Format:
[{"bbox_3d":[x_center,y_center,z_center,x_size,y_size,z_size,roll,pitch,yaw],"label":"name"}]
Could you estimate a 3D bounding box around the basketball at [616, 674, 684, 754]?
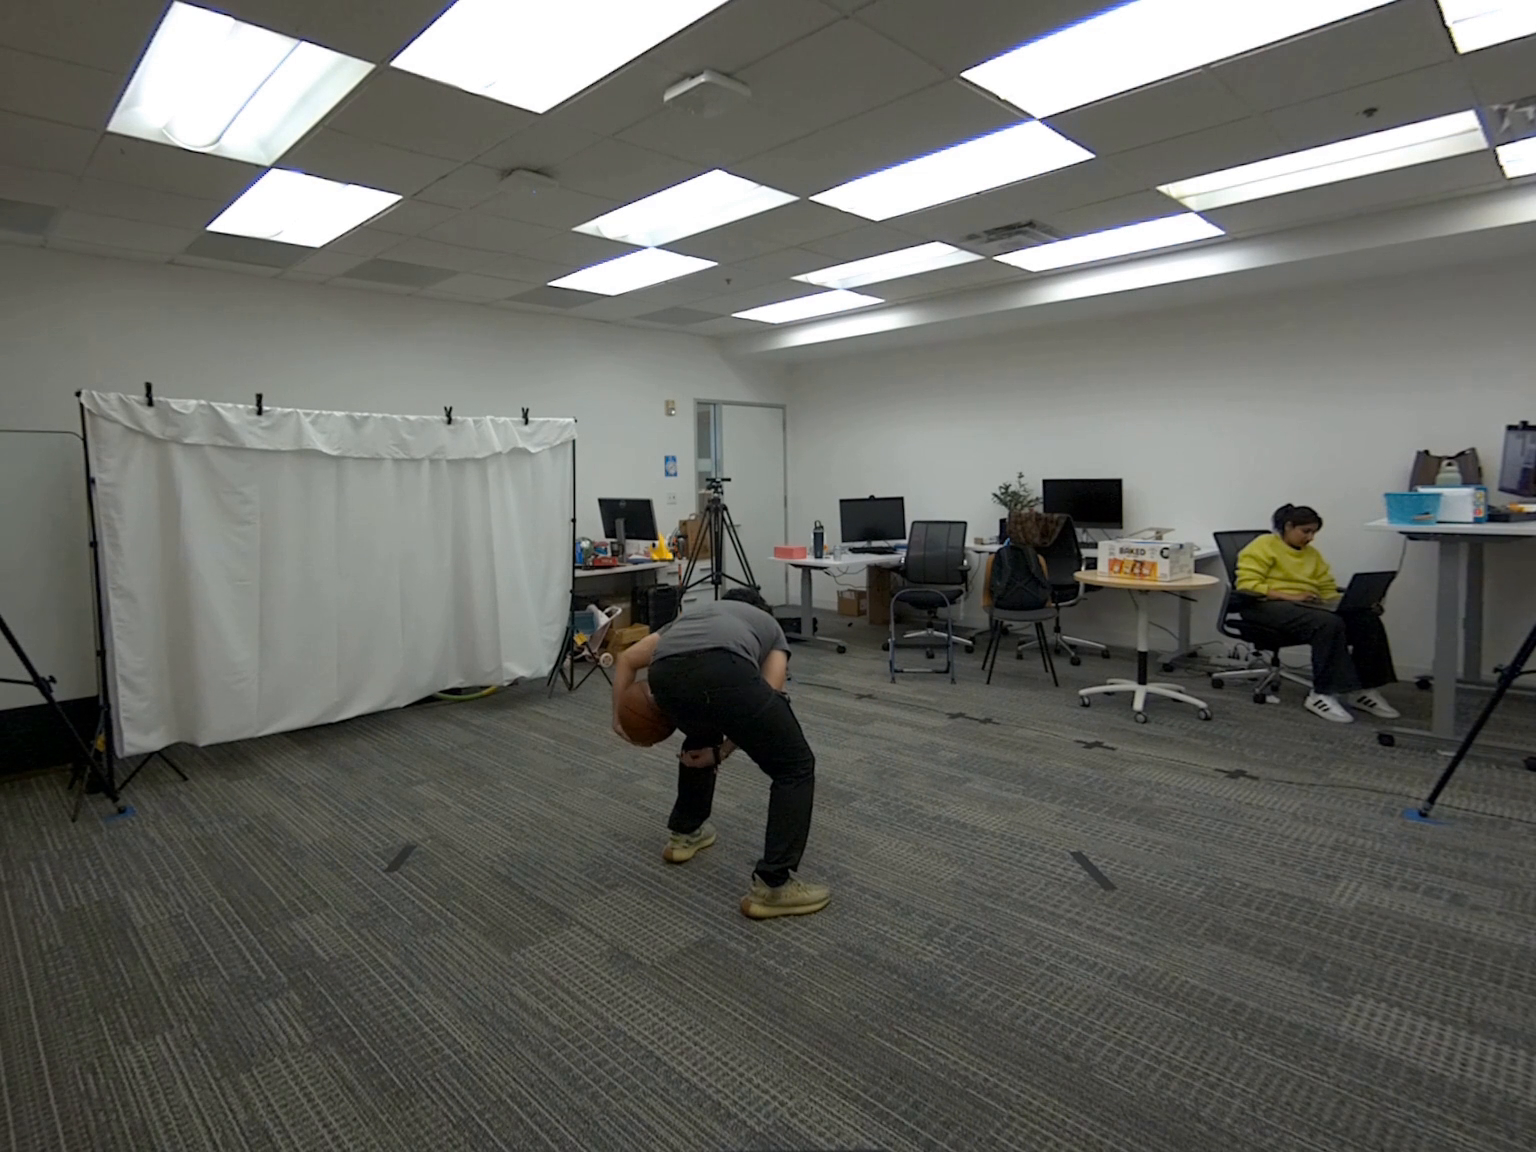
[{"bbox_3d":[-0.434,0.505,3.189,0.236,0.235,0.237,-1,5,-2],"label":"basketball"}]
